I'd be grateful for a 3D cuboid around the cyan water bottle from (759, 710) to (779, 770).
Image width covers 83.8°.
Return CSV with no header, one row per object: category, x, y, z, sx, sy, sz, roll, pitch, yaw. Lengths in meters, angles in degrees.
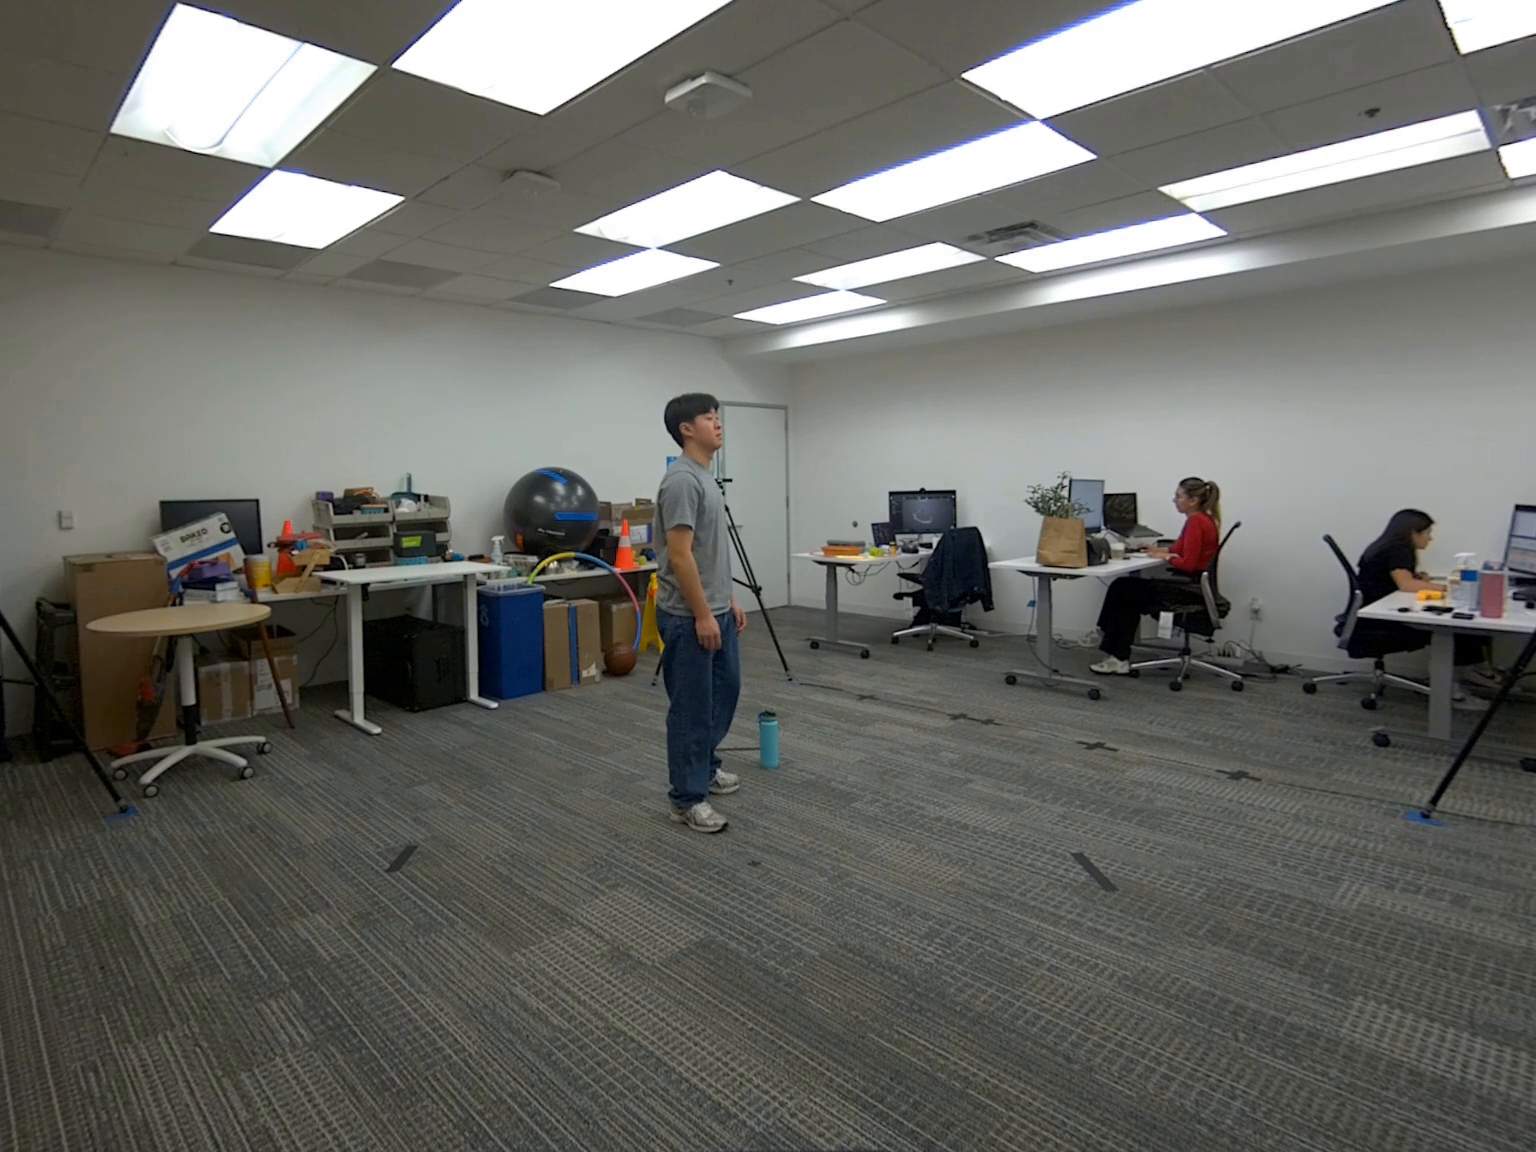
cyan water bottle,0.005,0.785,4.158,0.092,0.282,0.093,-2,6,-1
